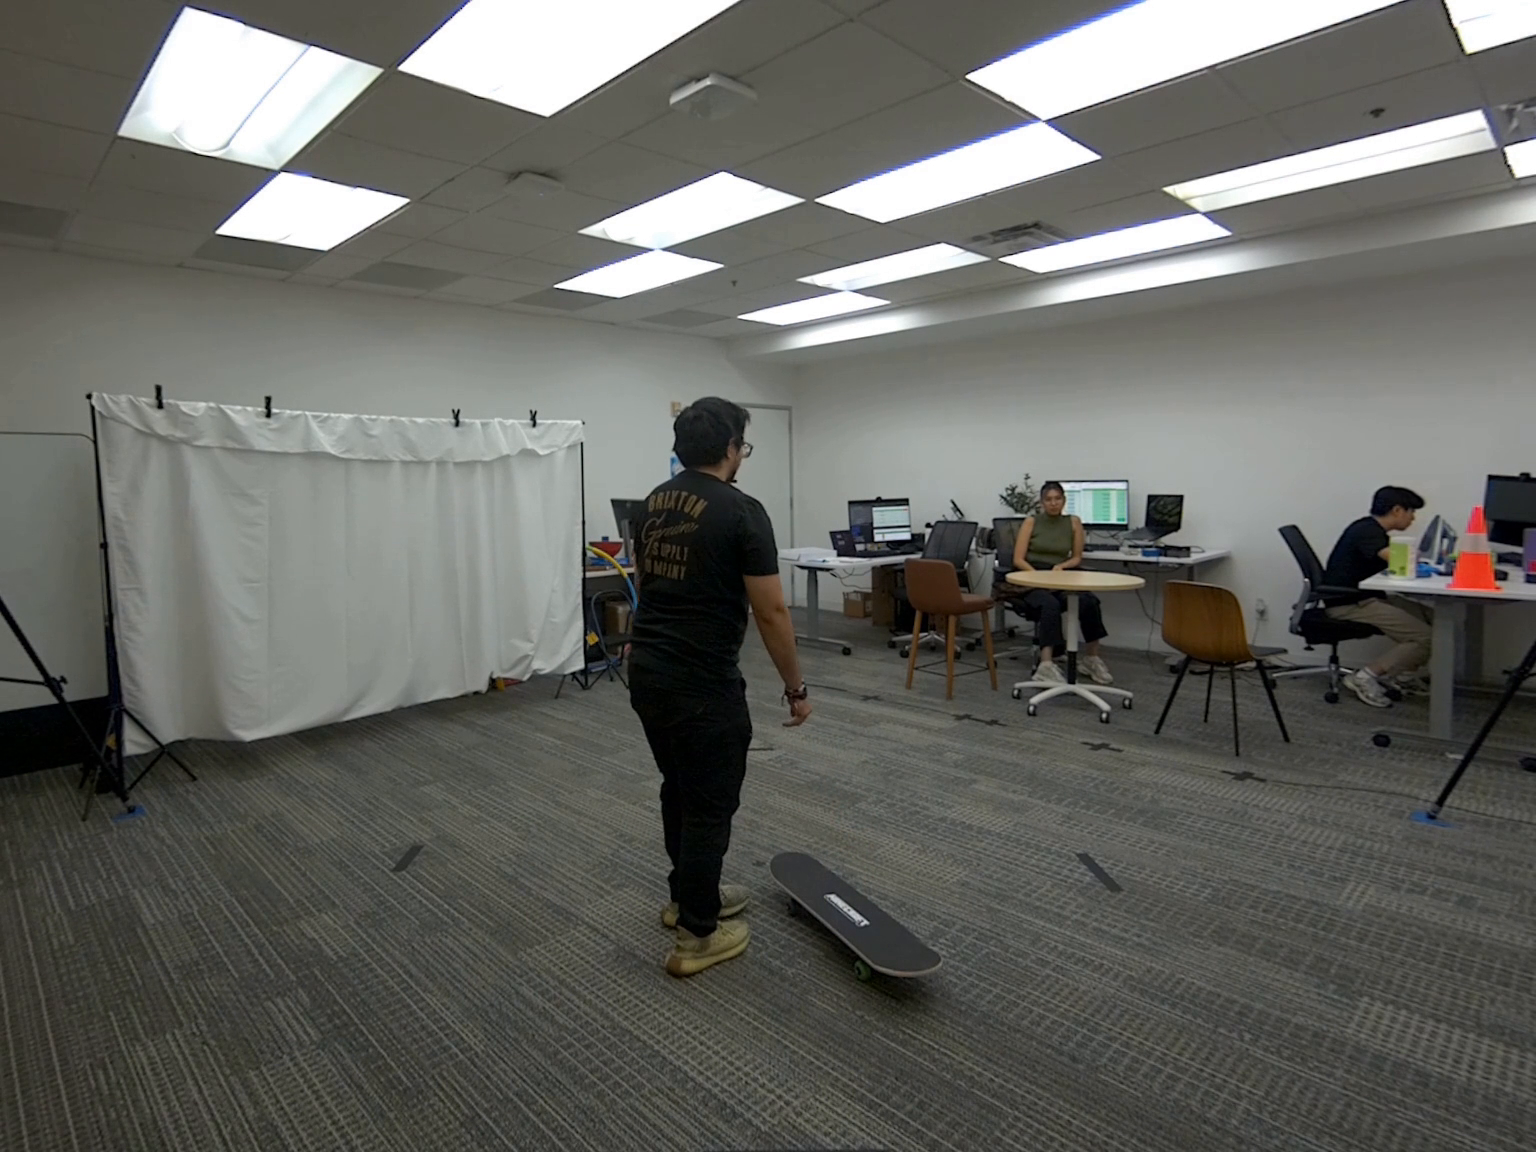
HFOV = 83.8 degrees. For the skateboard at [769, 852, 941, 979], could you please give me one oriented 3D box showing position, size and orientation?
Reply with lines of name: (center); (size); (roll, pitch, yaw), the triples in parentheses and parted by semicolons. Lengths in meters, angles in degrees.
skateboard: (0.240, 1.040, 2.596); (0.189, 0.110, 0.806); (-3, 7, -27)
